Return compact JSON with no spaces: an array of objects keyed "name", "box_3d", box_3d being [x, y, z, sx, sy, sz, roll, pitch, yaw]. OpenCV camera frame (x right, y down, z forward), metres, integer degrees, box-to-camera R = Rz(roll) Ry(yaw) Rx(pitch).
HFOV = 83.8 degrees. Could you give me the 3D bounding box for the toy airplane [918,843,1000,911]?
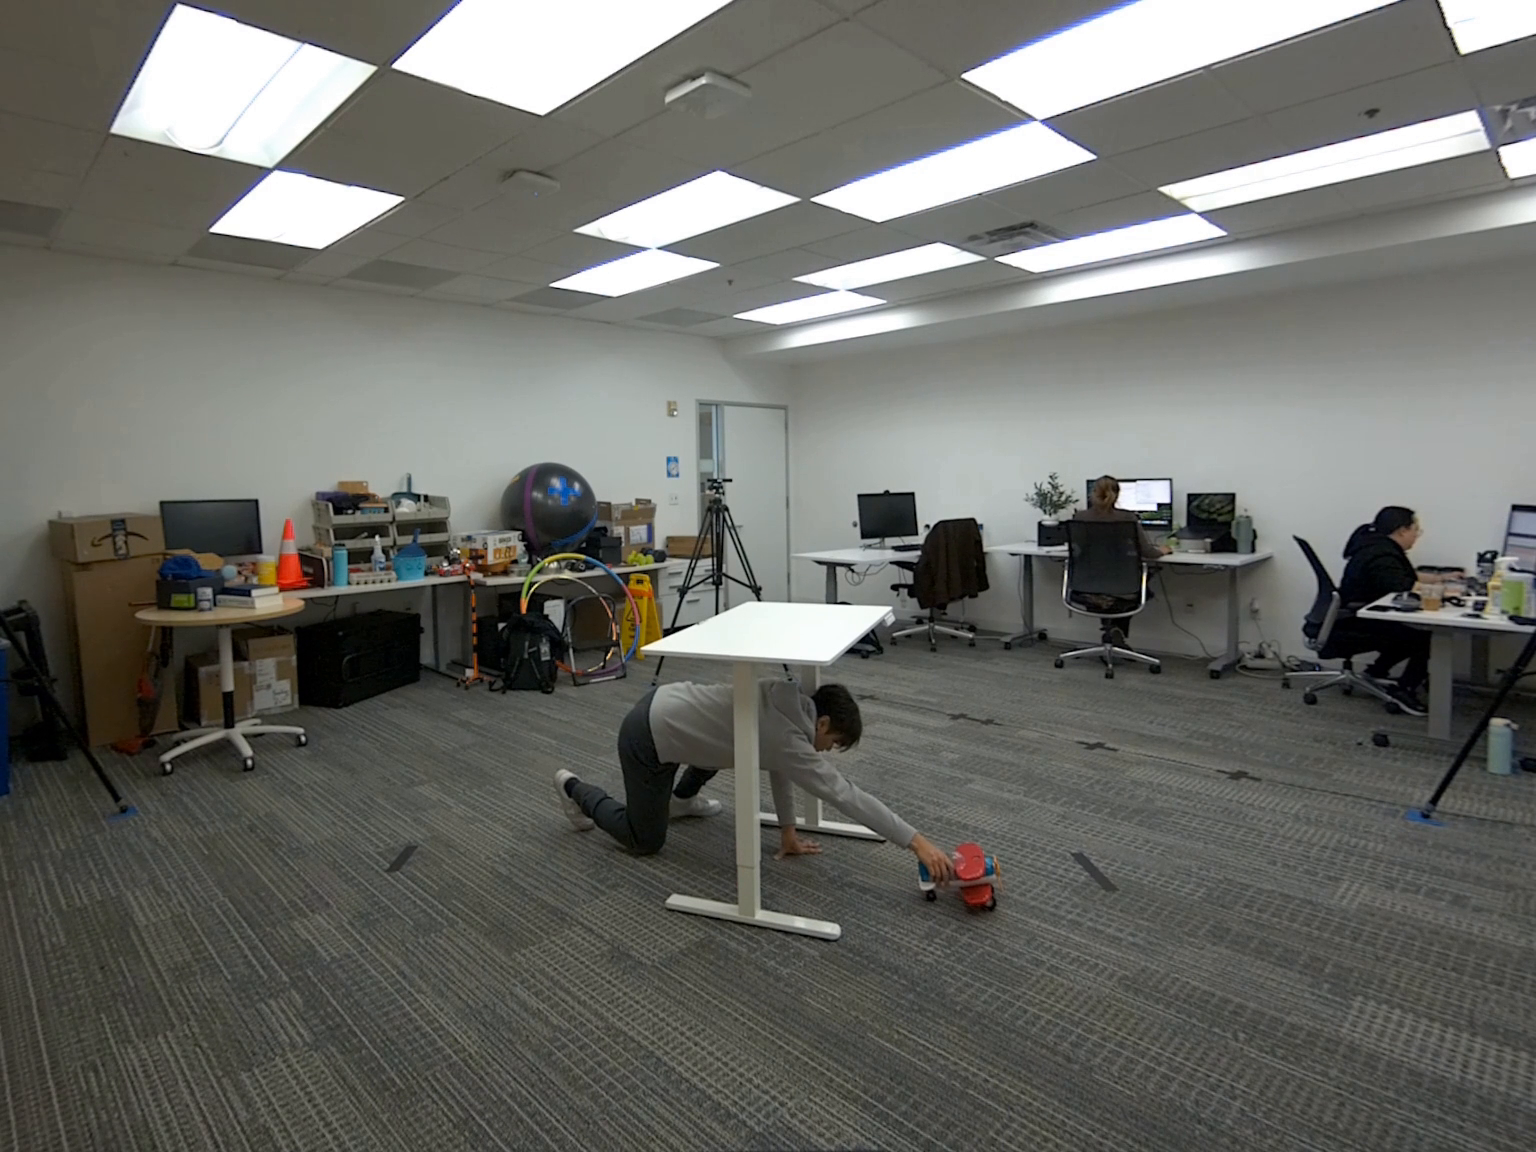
[{"name":"toy airplane","box_3d":[0.635,0.999,2.785,0.255,0.156,0.256,-2,5,-18]}]
